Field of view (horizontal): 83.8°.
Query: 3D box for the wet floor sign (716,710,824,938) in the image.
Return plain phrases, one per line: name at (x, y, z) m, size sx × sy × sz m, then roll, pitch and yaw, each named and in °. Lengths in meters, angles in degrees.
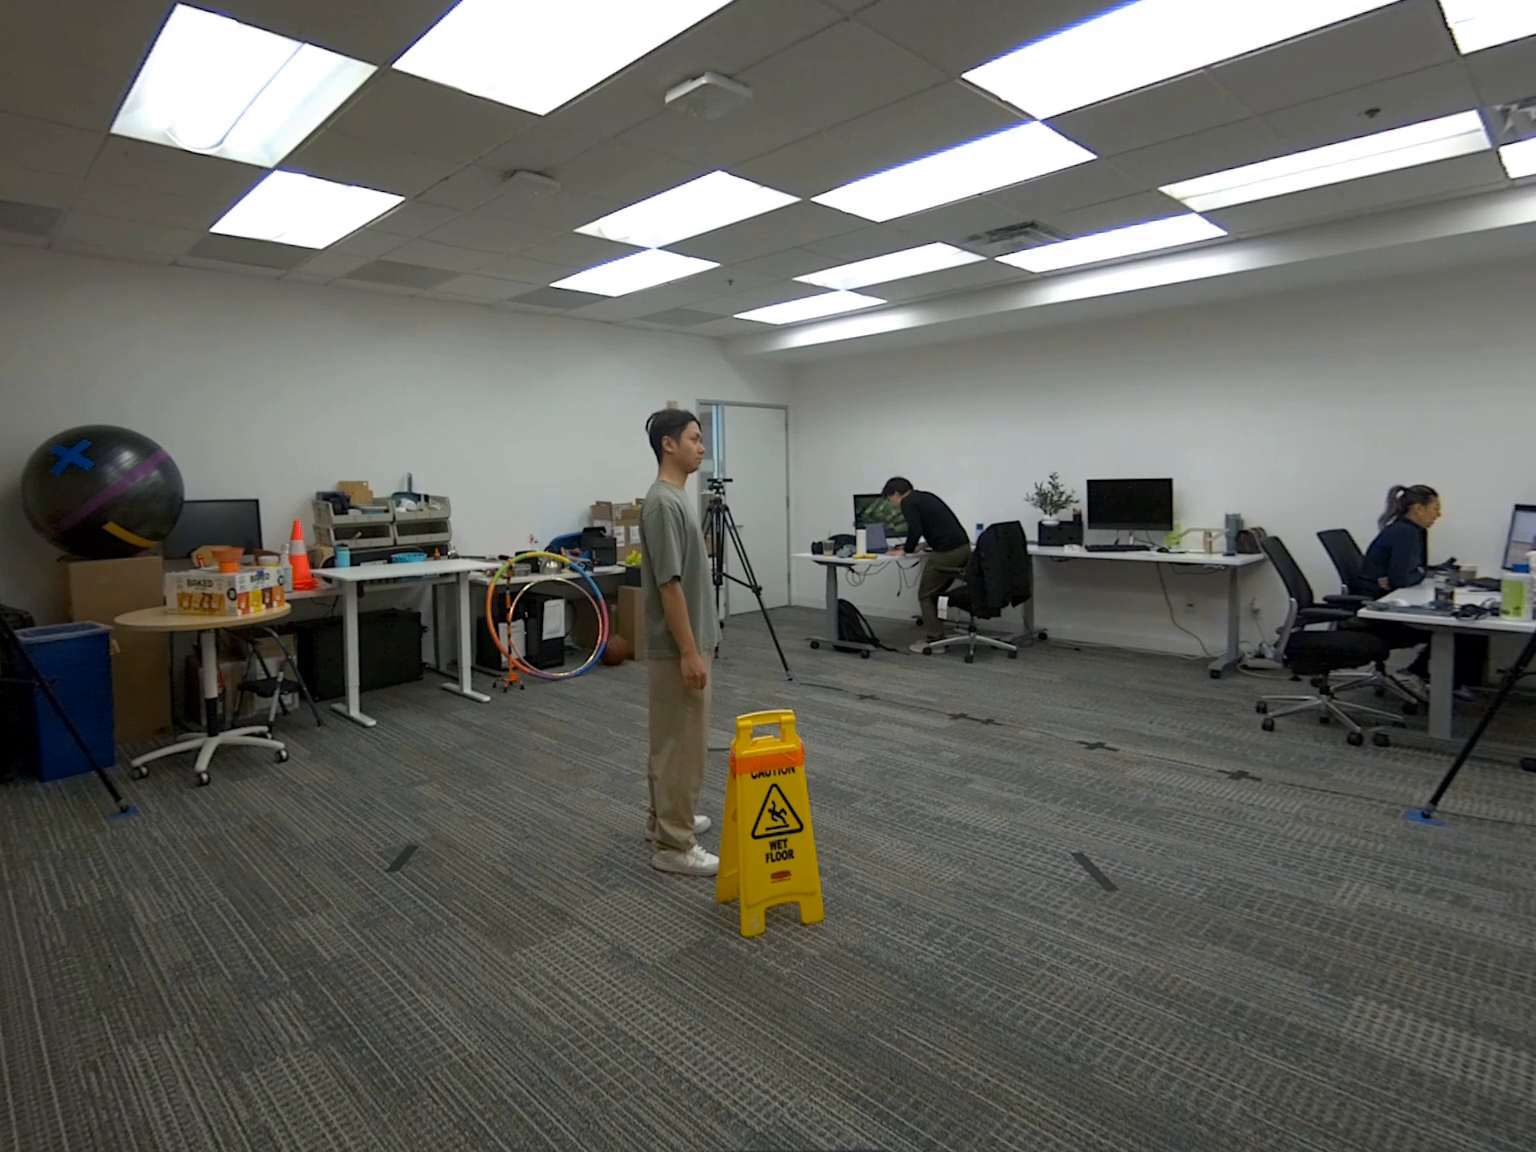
wet floor sign at (-0.001, 0.758, 2.745) m, size 0.277 × 0.644 × 0.296 m, roll -2°, pitch 4°, yaw -22°
